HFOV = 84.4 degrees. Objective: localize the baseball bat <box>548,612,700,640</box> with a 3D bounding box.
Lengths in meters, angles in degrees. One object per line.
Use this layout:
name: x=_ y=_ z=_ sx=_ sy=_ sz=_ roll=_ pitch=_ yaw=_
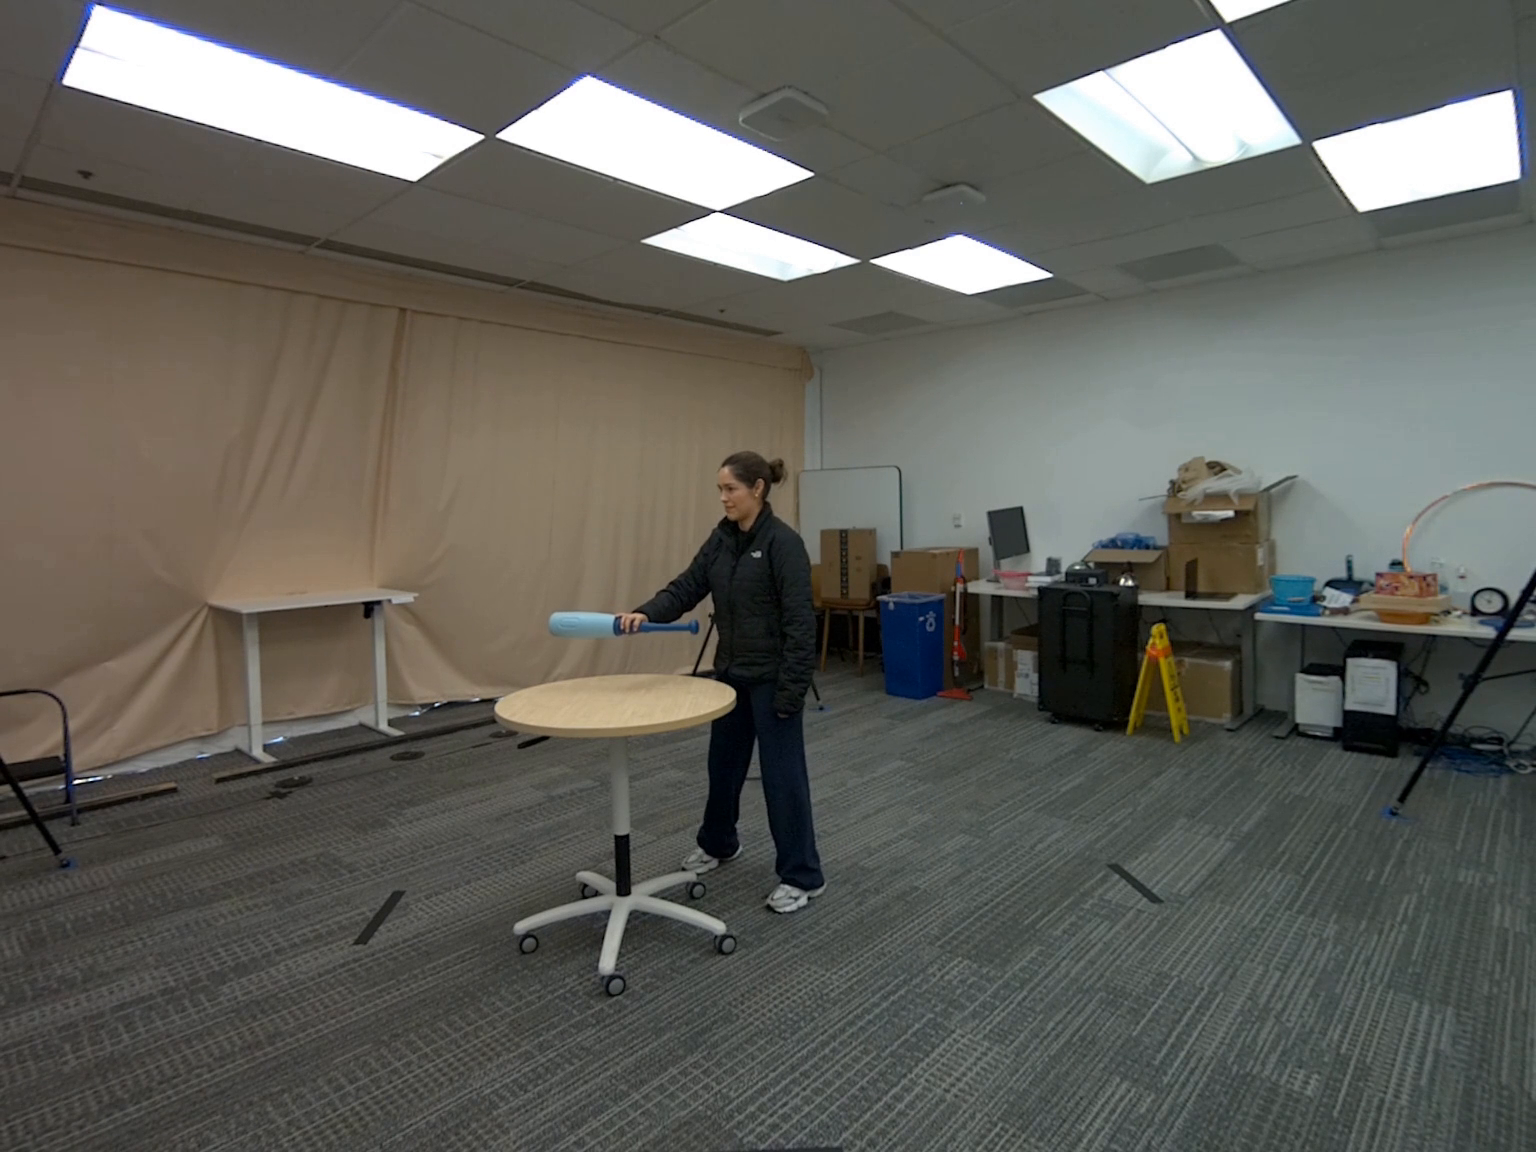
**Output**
baseball bat: x=-0.476 y=0.171 z=2.854 sx=0.552 sy=0.089 sz=0.088 roll=0 pitch=4 yaw=16
